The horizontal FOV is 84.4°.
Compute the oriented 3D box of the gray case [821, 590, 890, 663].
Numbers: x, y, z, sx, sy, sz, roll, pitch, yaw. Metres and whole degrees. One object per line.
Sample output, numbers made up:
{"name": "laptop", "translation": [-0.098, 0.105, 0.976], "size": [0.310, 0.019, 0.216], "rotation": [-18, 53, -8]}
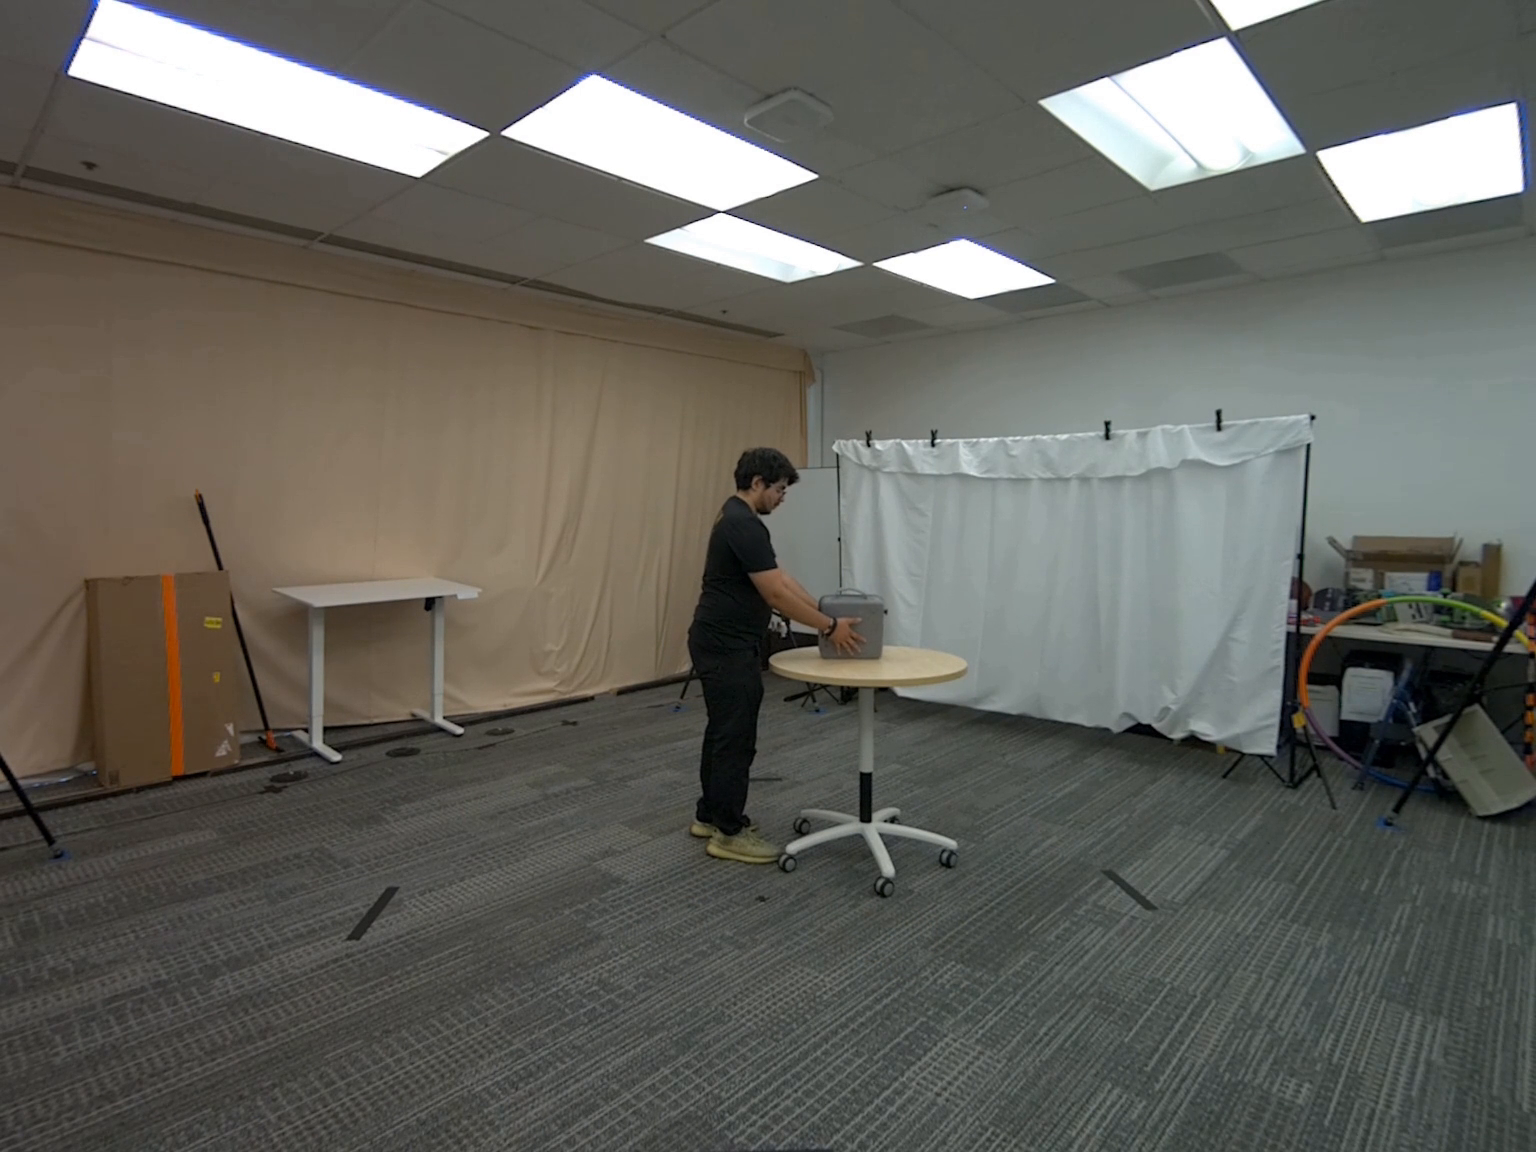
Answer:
{"name": "gray case", "translation": [0.342, 0.197, 3.339], "size": [0.258, 0.258, 0.104], "rotation": [-1, 11, 5]}
